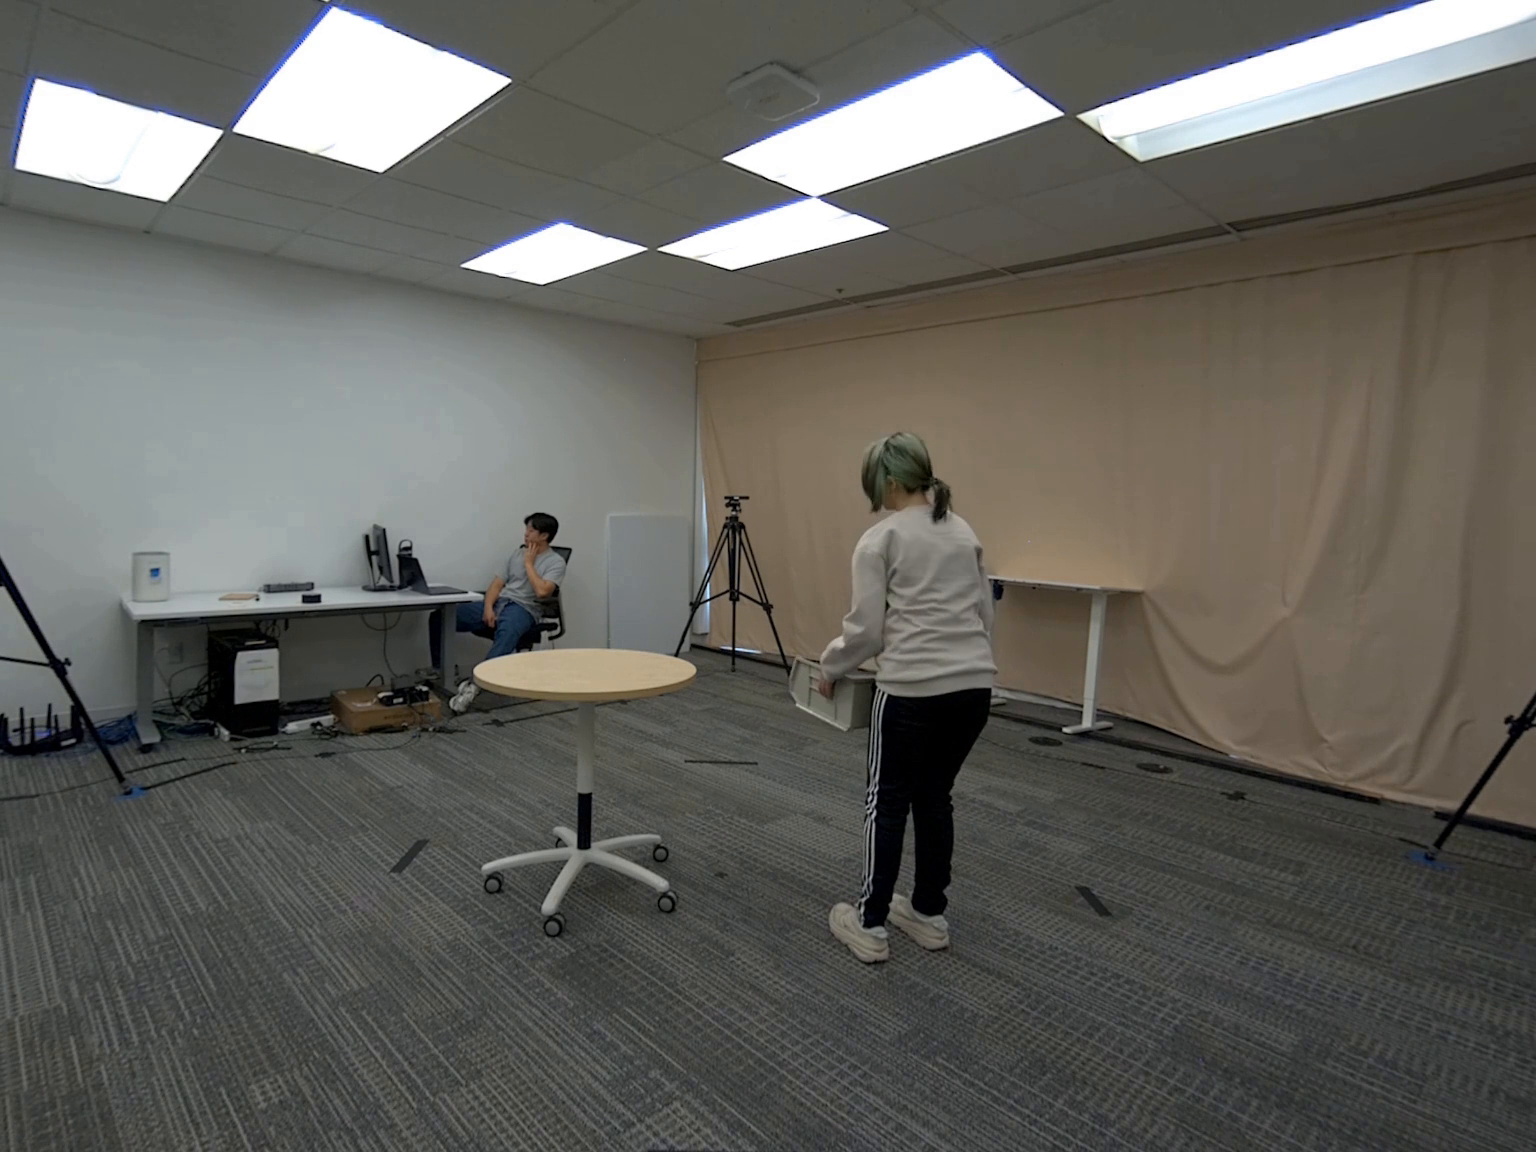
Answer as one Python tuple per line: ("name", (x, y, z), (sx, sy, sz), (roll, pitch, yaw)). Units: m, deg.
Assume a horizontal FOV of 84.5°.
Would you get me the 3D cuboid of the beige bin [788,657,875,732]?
("beige bin", (0.343, 0.402, 2.972), (0.414, 0.188, 0.386), (2, 7, -28))
